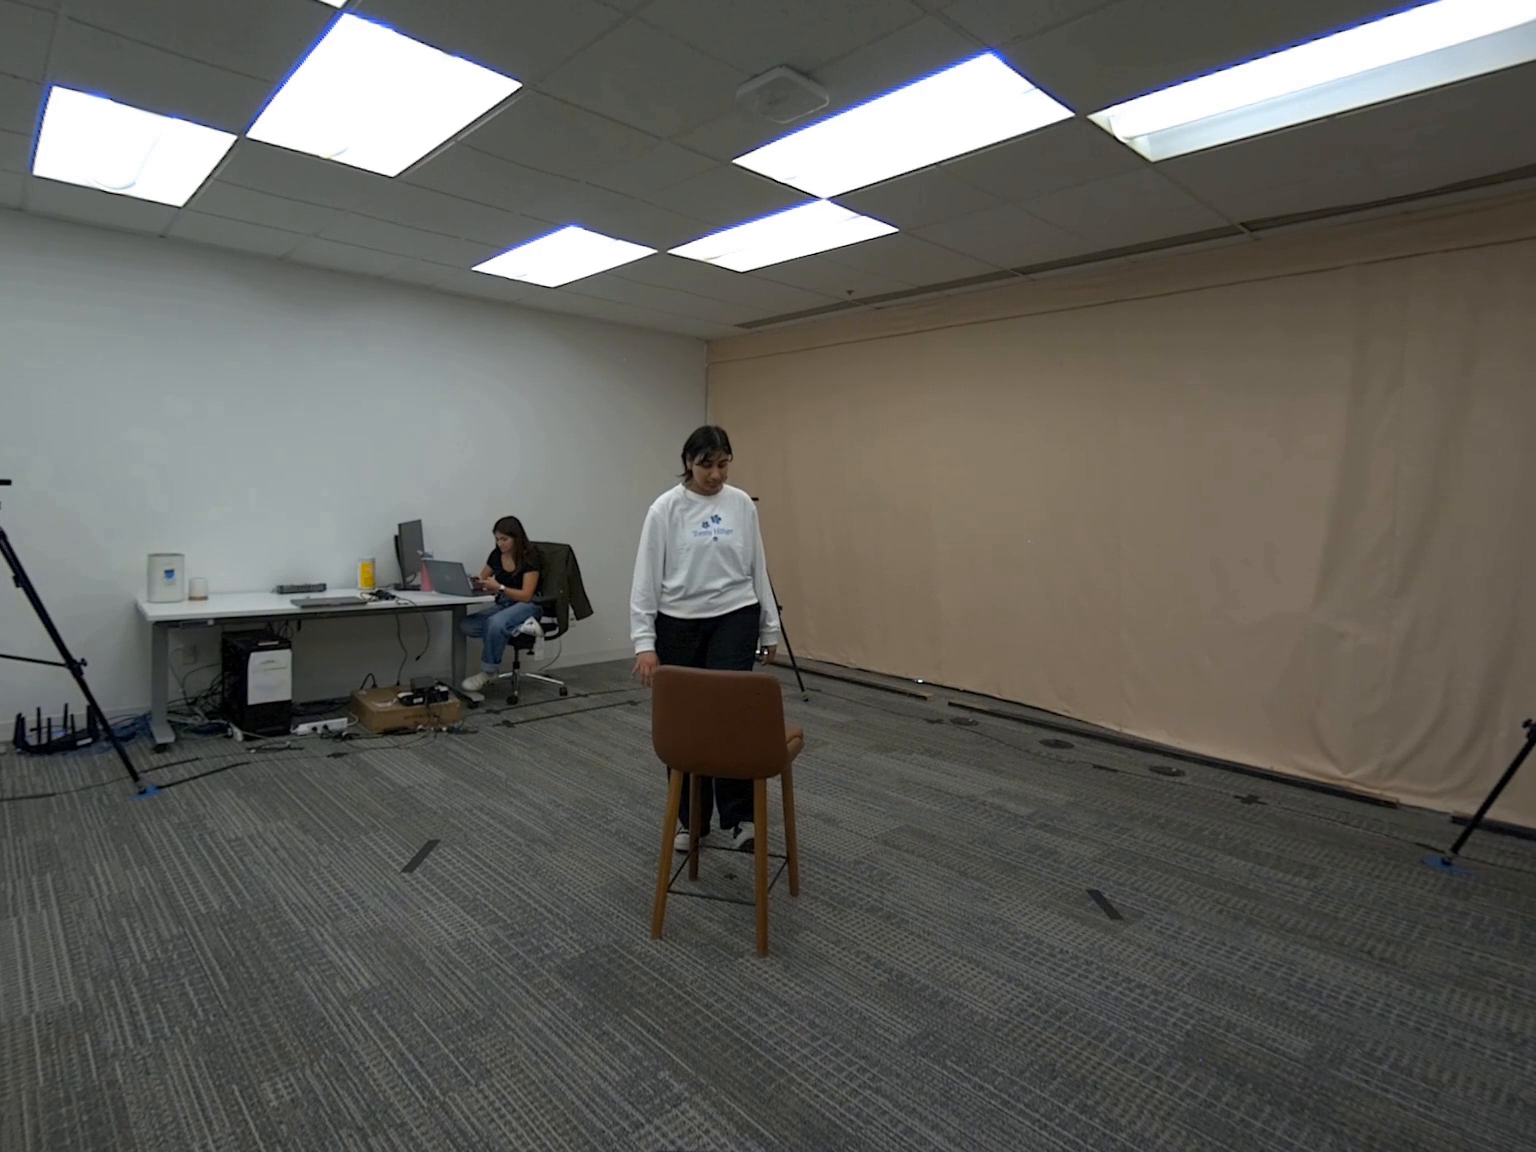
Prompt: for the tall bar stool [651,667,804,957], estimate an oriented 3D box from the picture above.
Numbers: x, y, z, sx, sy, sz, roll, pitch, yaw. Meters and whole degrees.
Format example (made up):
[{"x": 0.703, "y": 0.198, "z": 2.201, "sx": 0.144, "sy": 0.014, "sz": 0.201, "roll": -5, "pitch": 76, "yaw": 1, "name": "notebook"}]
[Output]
[{"x": -0.139, "y": 0.705, "z": 2.786, "sx": 0.462, "sy": 0.887, "sz": 0.463, "roll": 2, "pitch": 5, "yaw": 16, "name": "tall bar stool"}]
